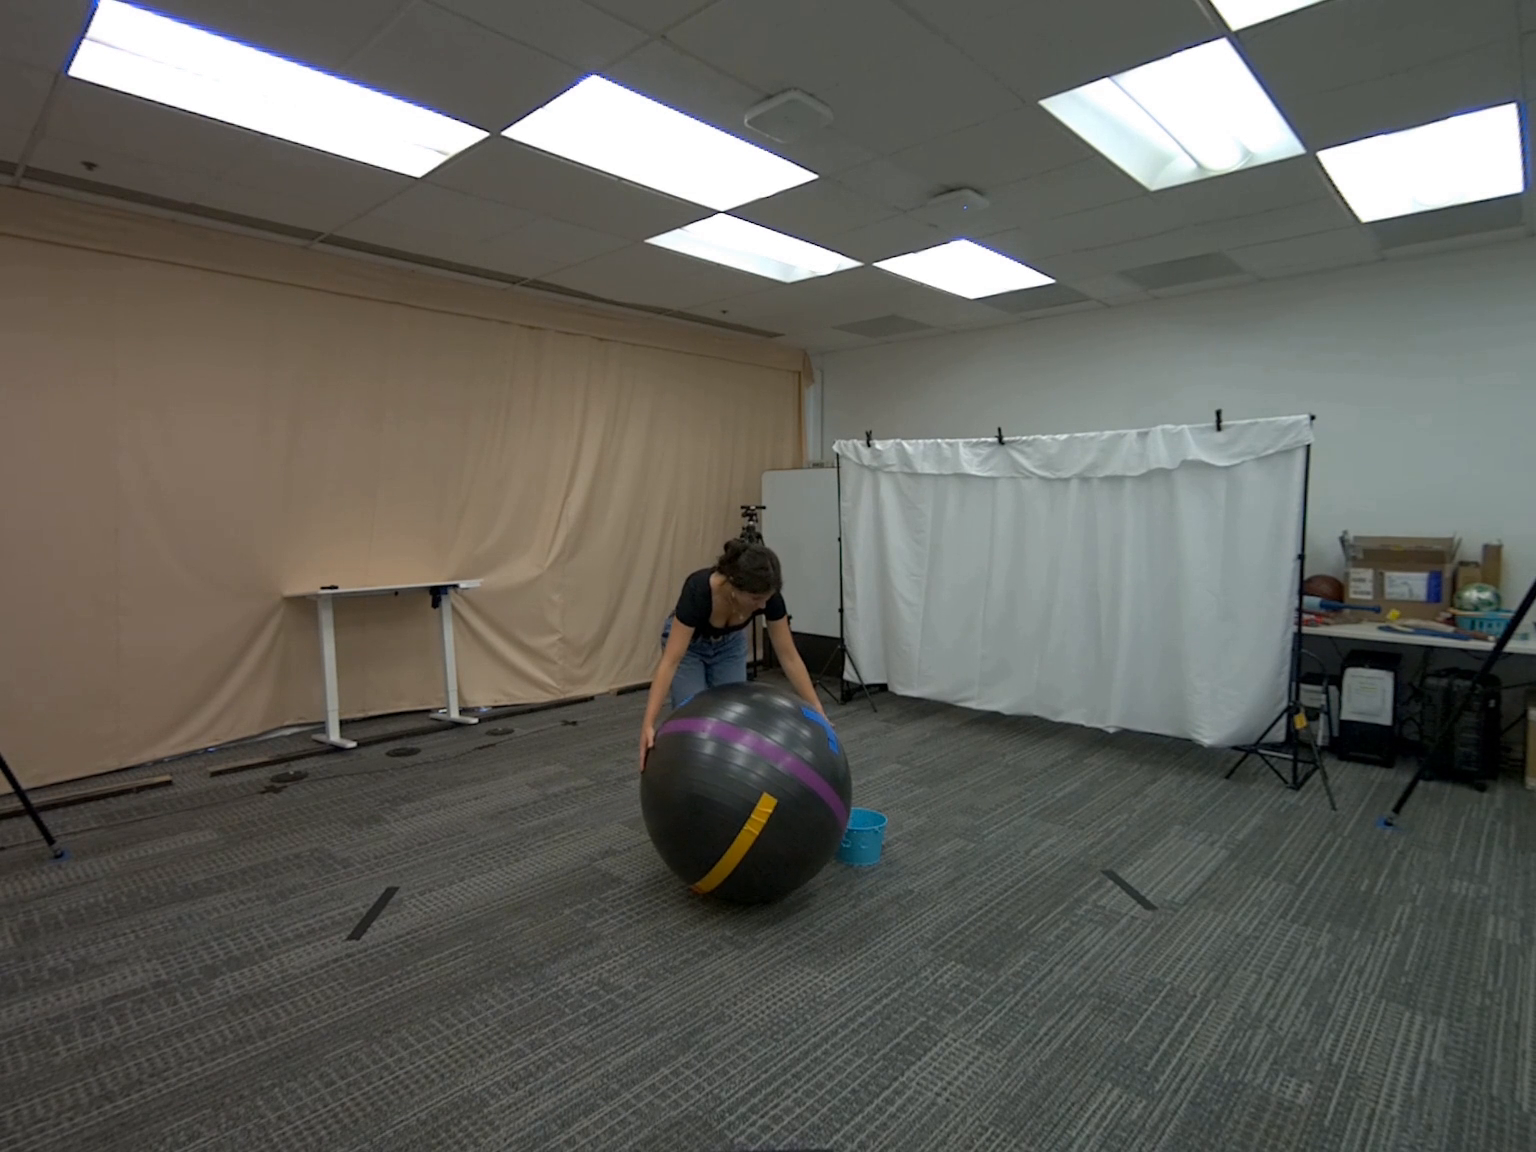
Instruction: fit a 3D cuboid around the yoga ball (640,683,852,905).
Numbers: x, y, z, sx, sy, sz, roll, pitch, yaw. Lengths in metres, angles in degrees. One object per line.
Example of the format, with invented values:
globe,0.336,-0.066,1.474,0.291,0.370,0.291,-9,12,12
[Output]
yoga ball,-0.082,0.775,3.013,0.757,0.756,0.760,0,4,-2
